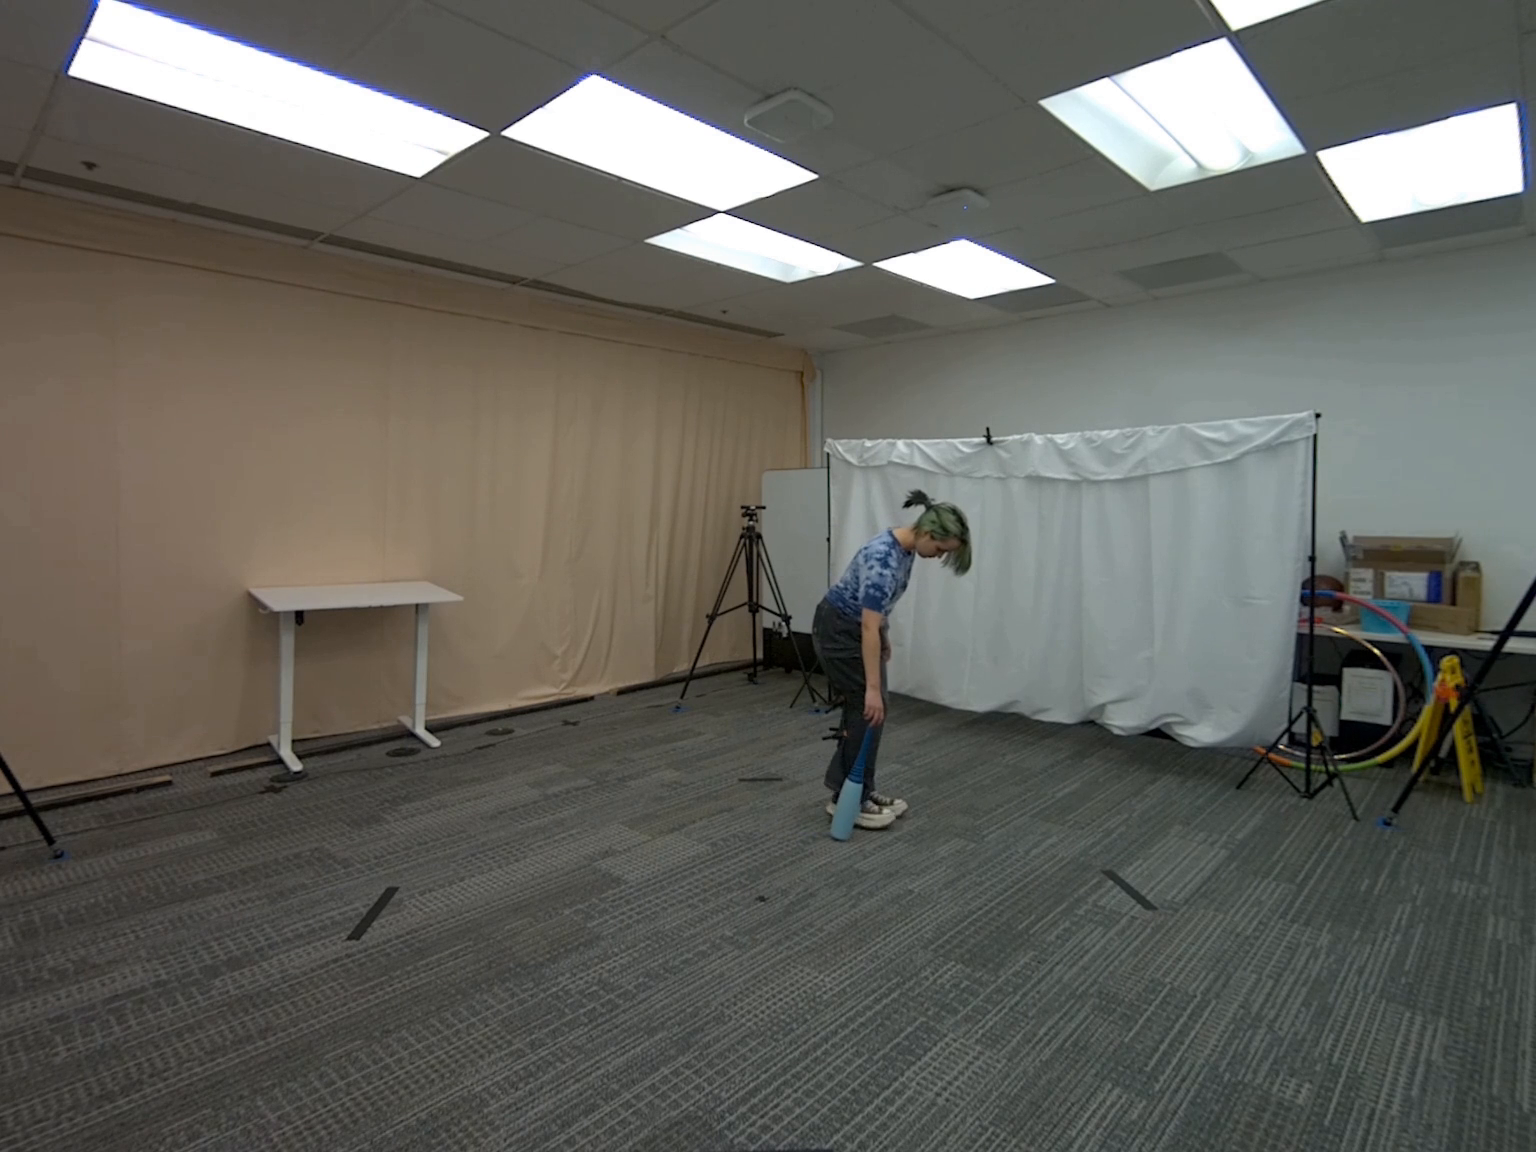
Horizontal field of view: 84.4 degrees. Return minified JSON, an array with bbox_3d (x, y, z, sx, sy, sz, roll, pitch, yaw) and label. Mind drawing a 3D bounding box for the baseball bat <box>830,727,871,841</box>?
[{"bbox_3d":[0.361,0.831,3.507,0.089,0.542,0.089,14,4,-3],"label":"baseball bat"}]
